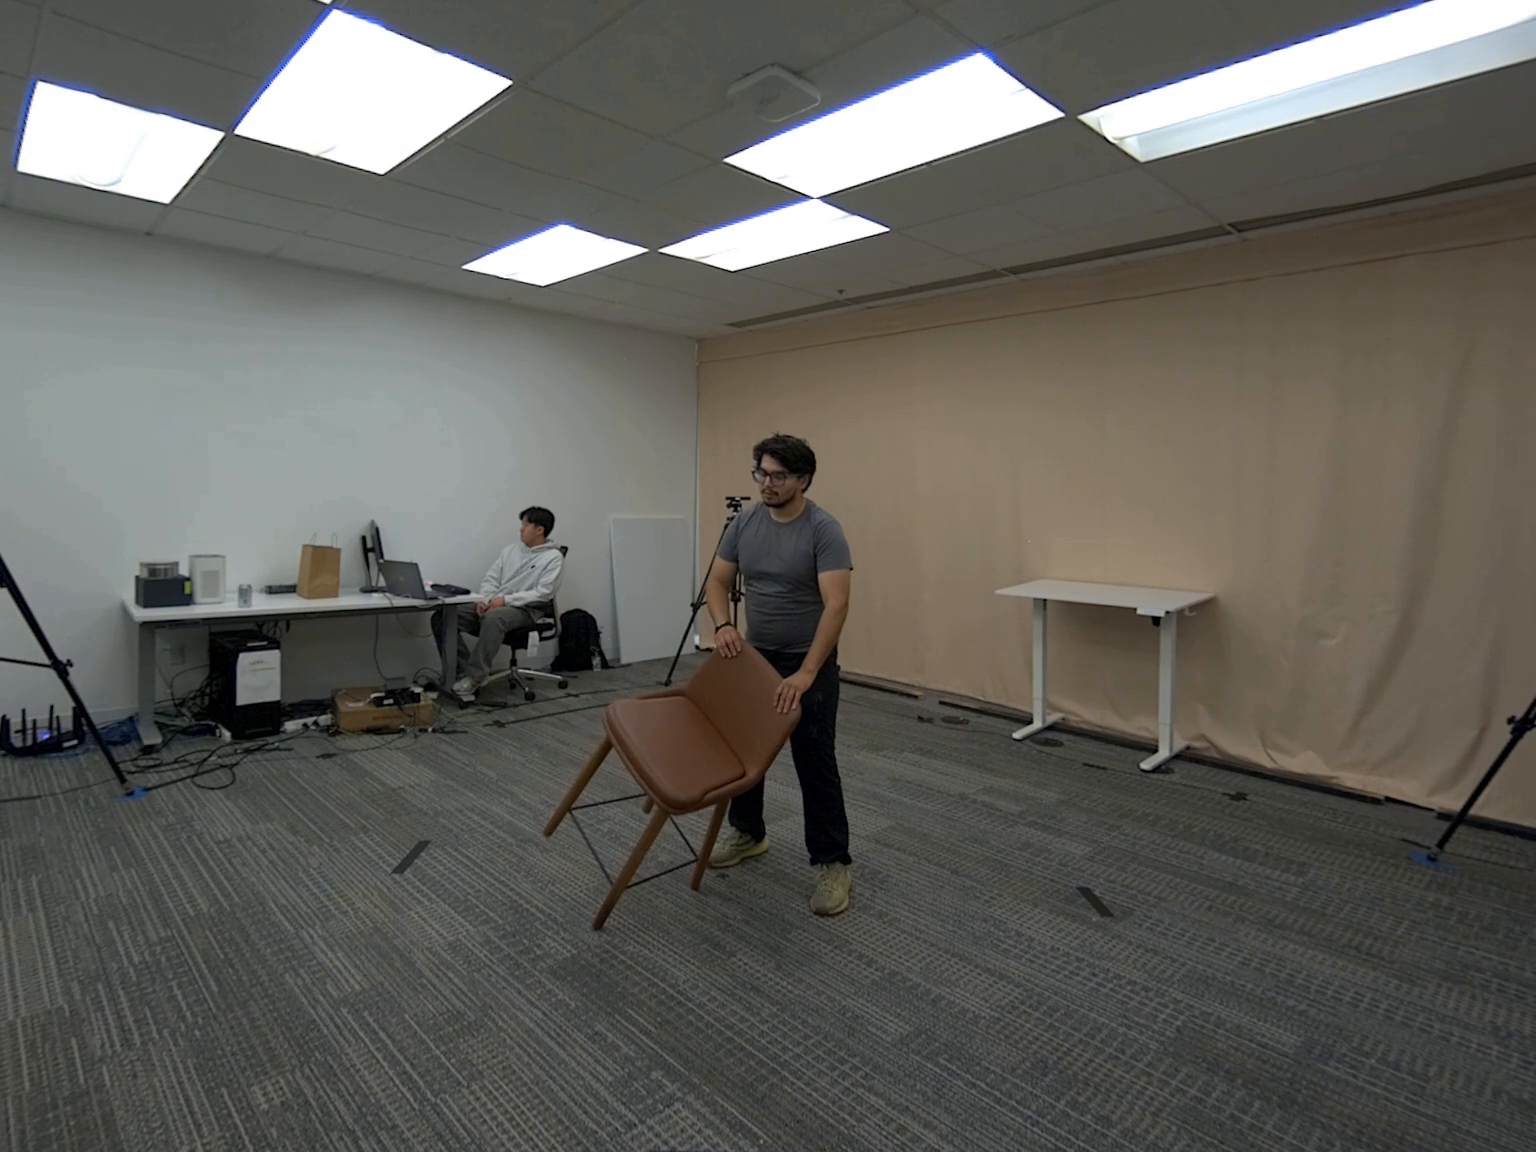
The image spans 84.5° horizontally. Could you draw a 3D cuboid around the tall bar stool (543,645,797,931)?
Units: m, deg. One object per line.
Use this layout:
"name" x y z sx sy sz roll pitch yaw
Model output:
"tall bar stool" -0.336 0.667 2.775 0.456 0.884 0.471 3 34 -45
